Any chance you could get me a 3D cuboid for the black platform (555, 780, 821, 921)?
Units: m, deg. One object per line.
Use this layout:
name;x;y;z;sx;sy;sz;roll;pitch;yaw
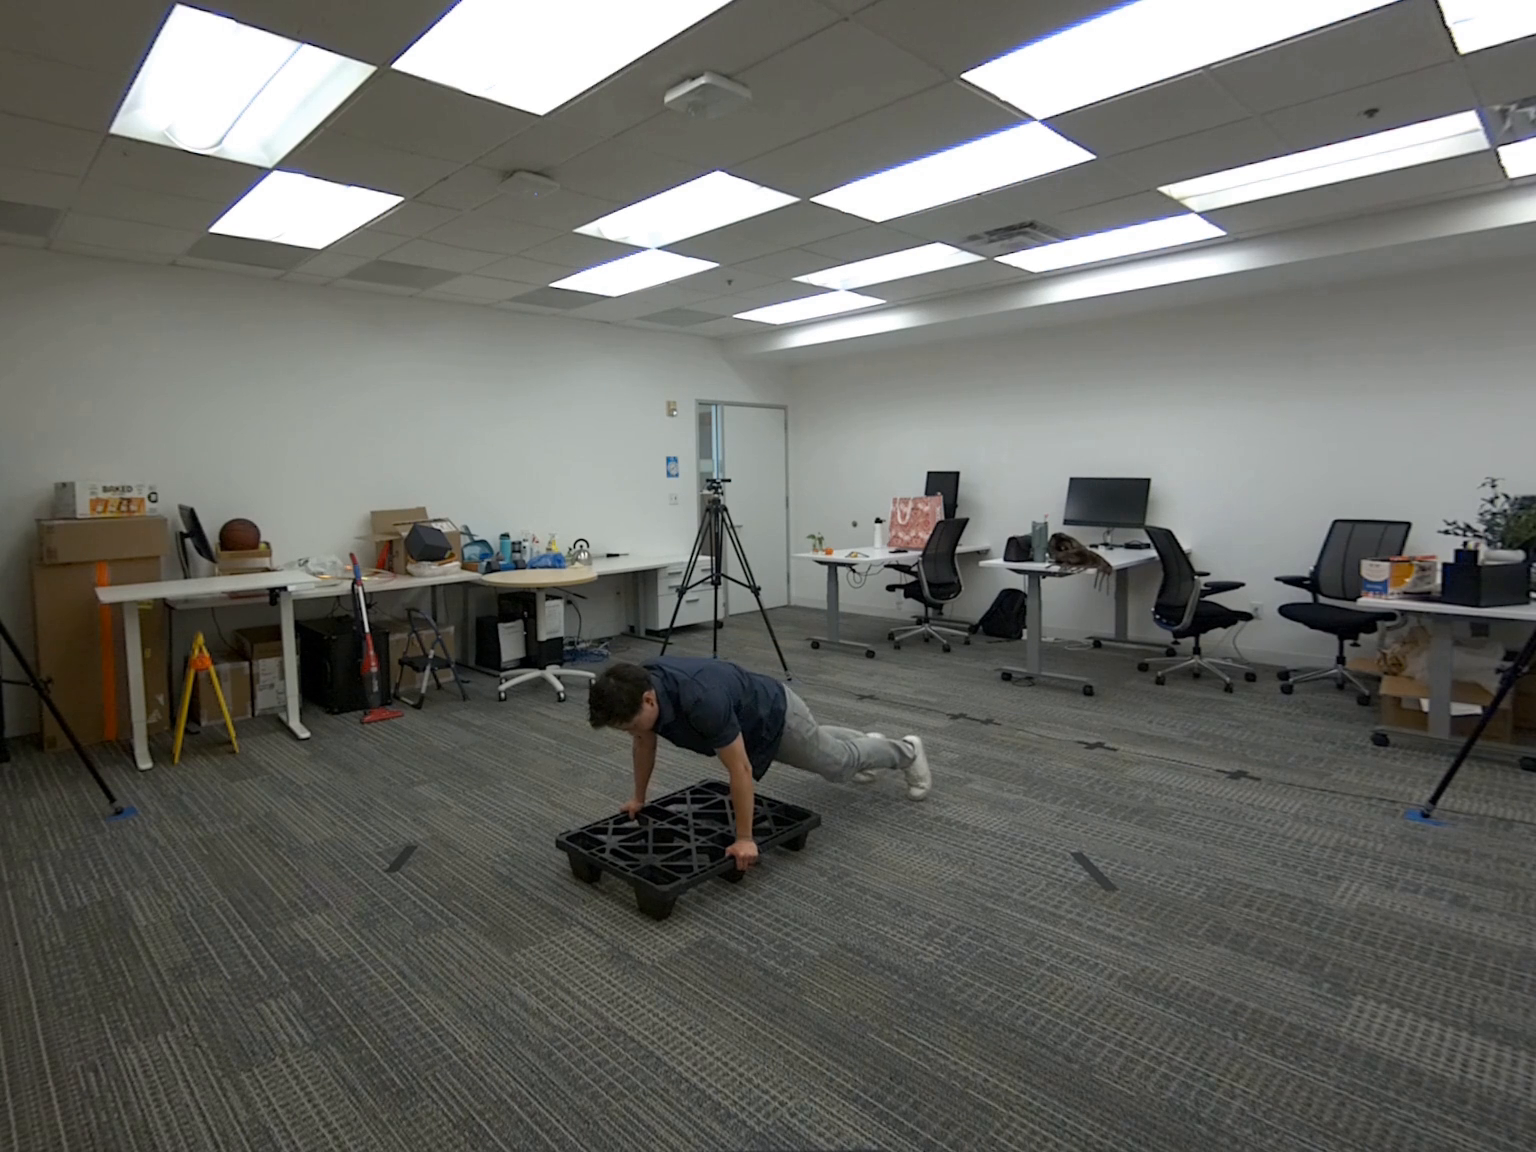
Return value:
black platform;-0.282;0.980;3.126;0.624;0.142;0.785;5;9;42
